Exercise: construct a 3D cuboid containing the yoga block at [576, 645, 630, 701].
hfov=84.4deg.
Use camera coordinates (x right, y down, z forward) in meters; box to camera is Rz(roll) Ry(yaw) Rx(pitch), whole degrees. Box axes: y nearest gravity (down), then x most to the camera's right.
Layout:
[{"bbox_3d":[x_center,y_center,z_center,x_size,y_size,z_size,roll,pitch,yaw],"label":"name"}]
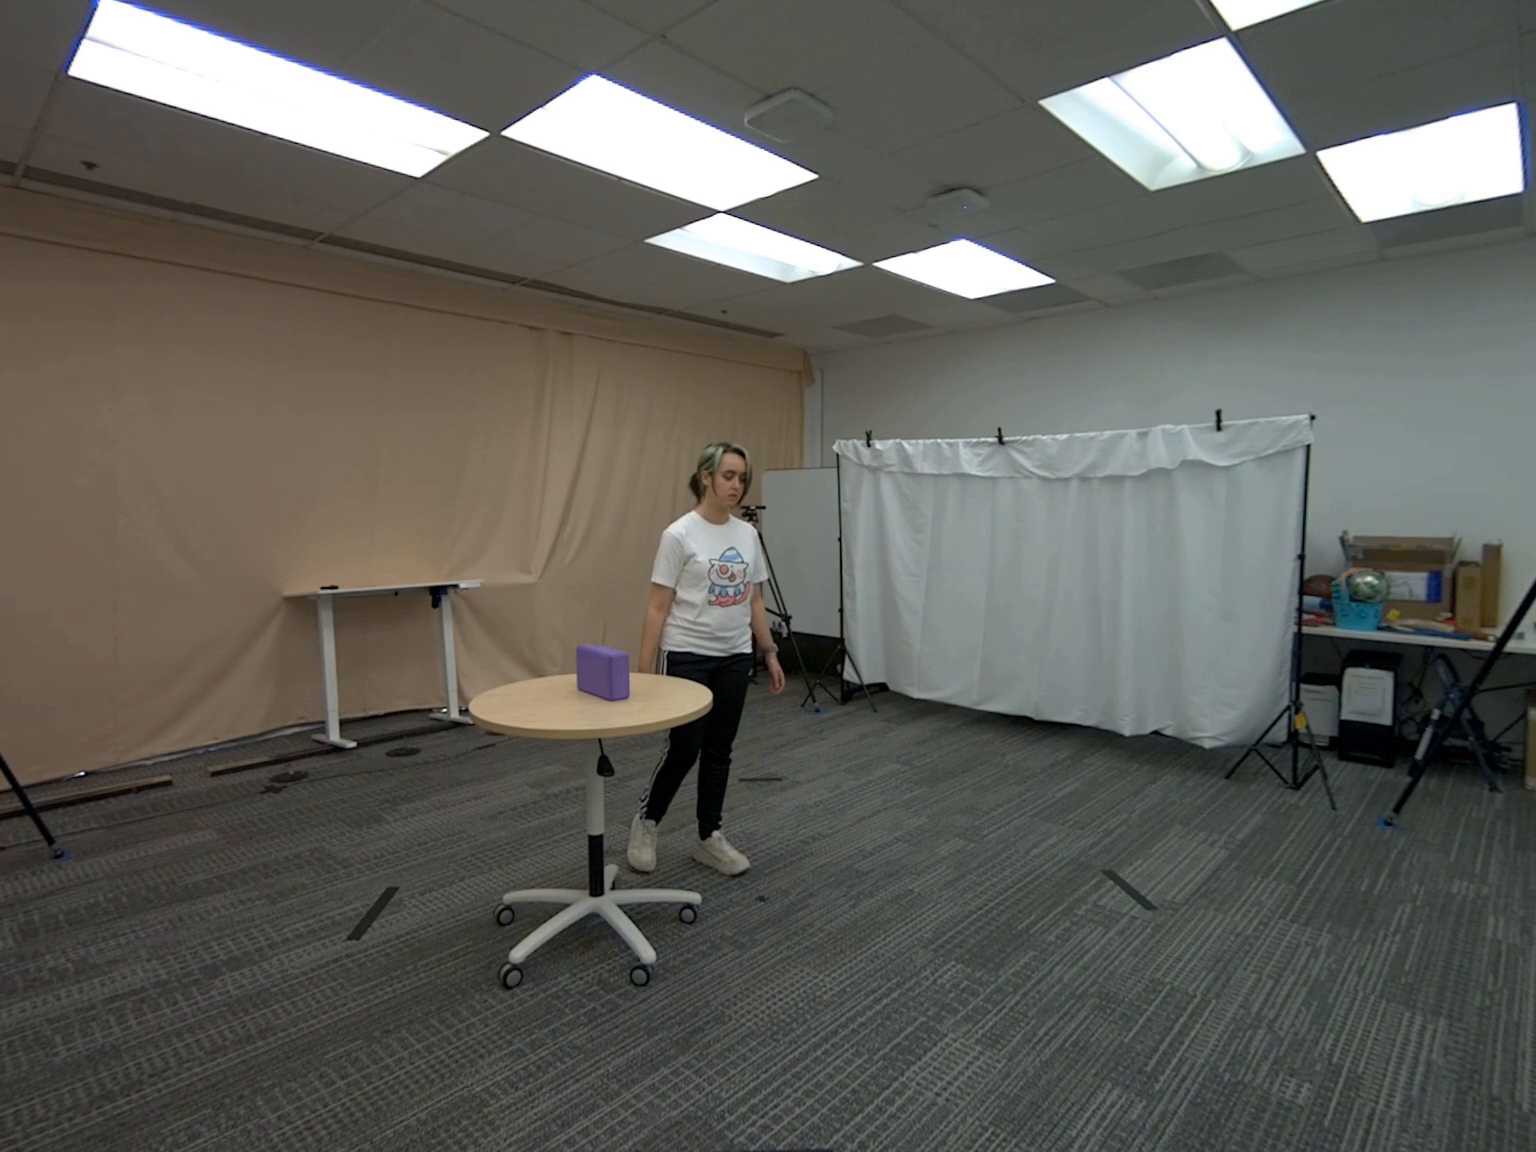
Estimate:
[{"bbox_3d":[-0.544,0.309,2.727,0.074,0.148,0.237,-4,6,-38],"label":"yoga block"}]
